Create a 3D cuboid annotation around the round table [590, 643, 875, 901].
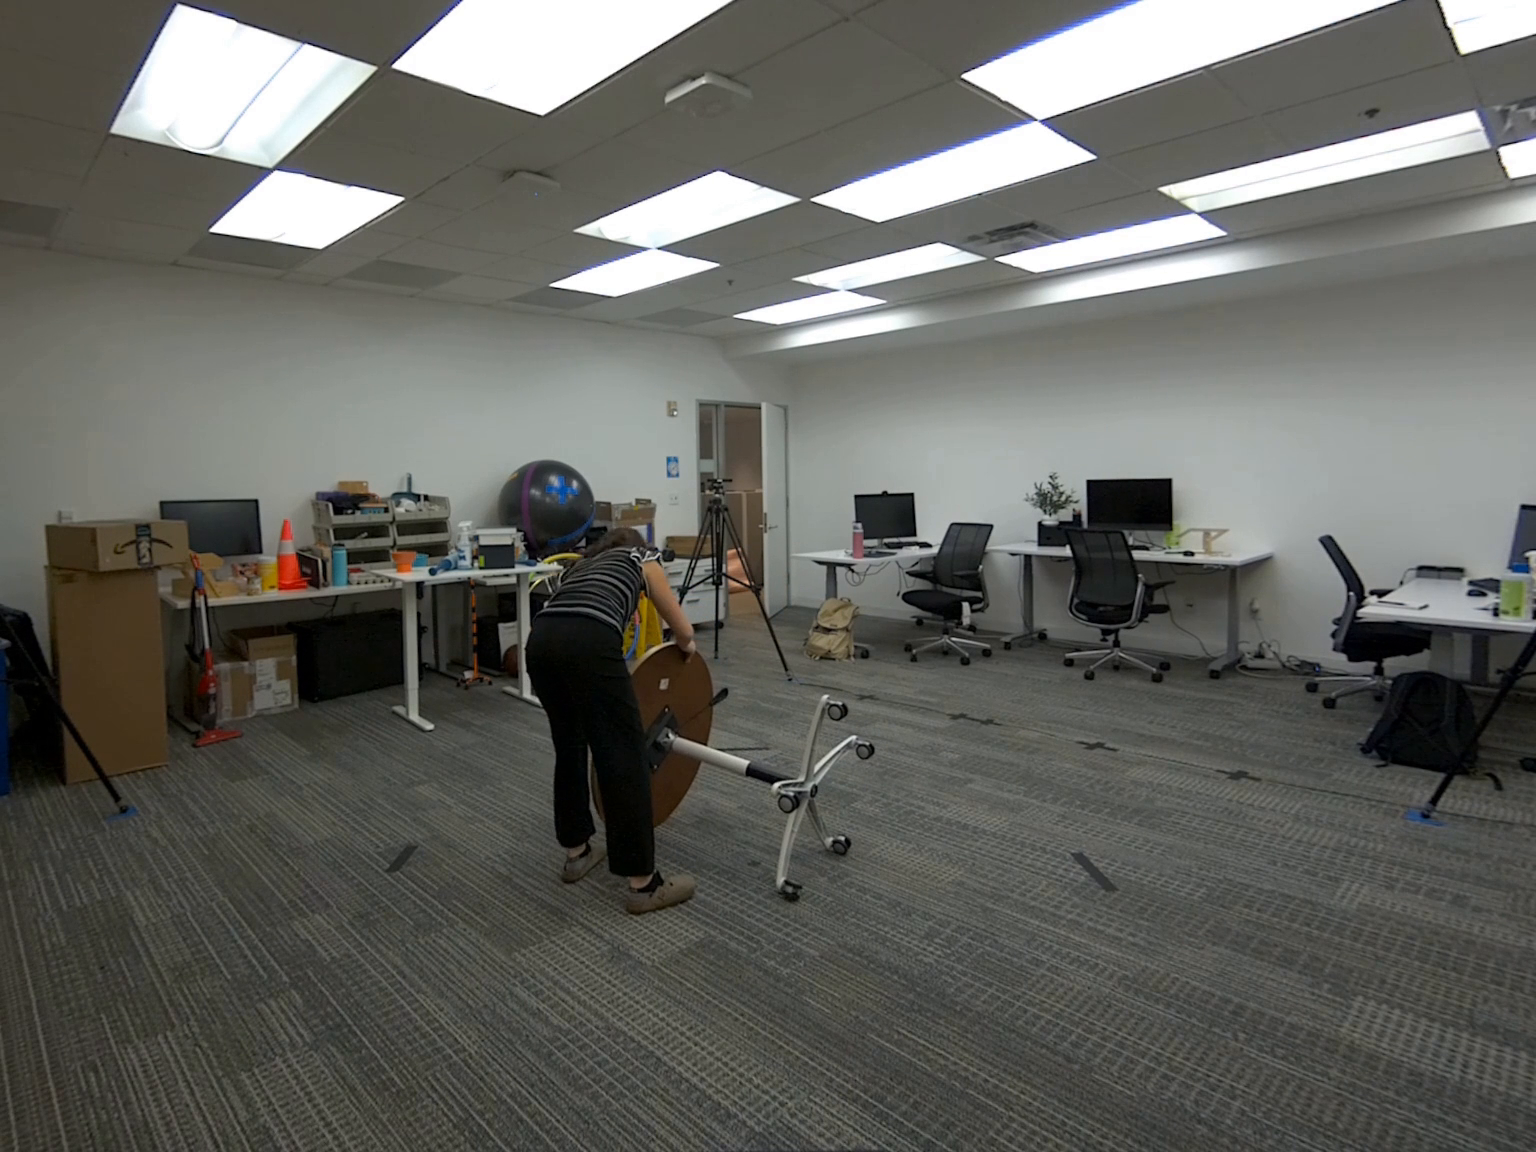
[{"bbox_3d":[-0.110,0.708,3.180,0.818,0.759,0.746,10,10,30],"label":"round table"}]
